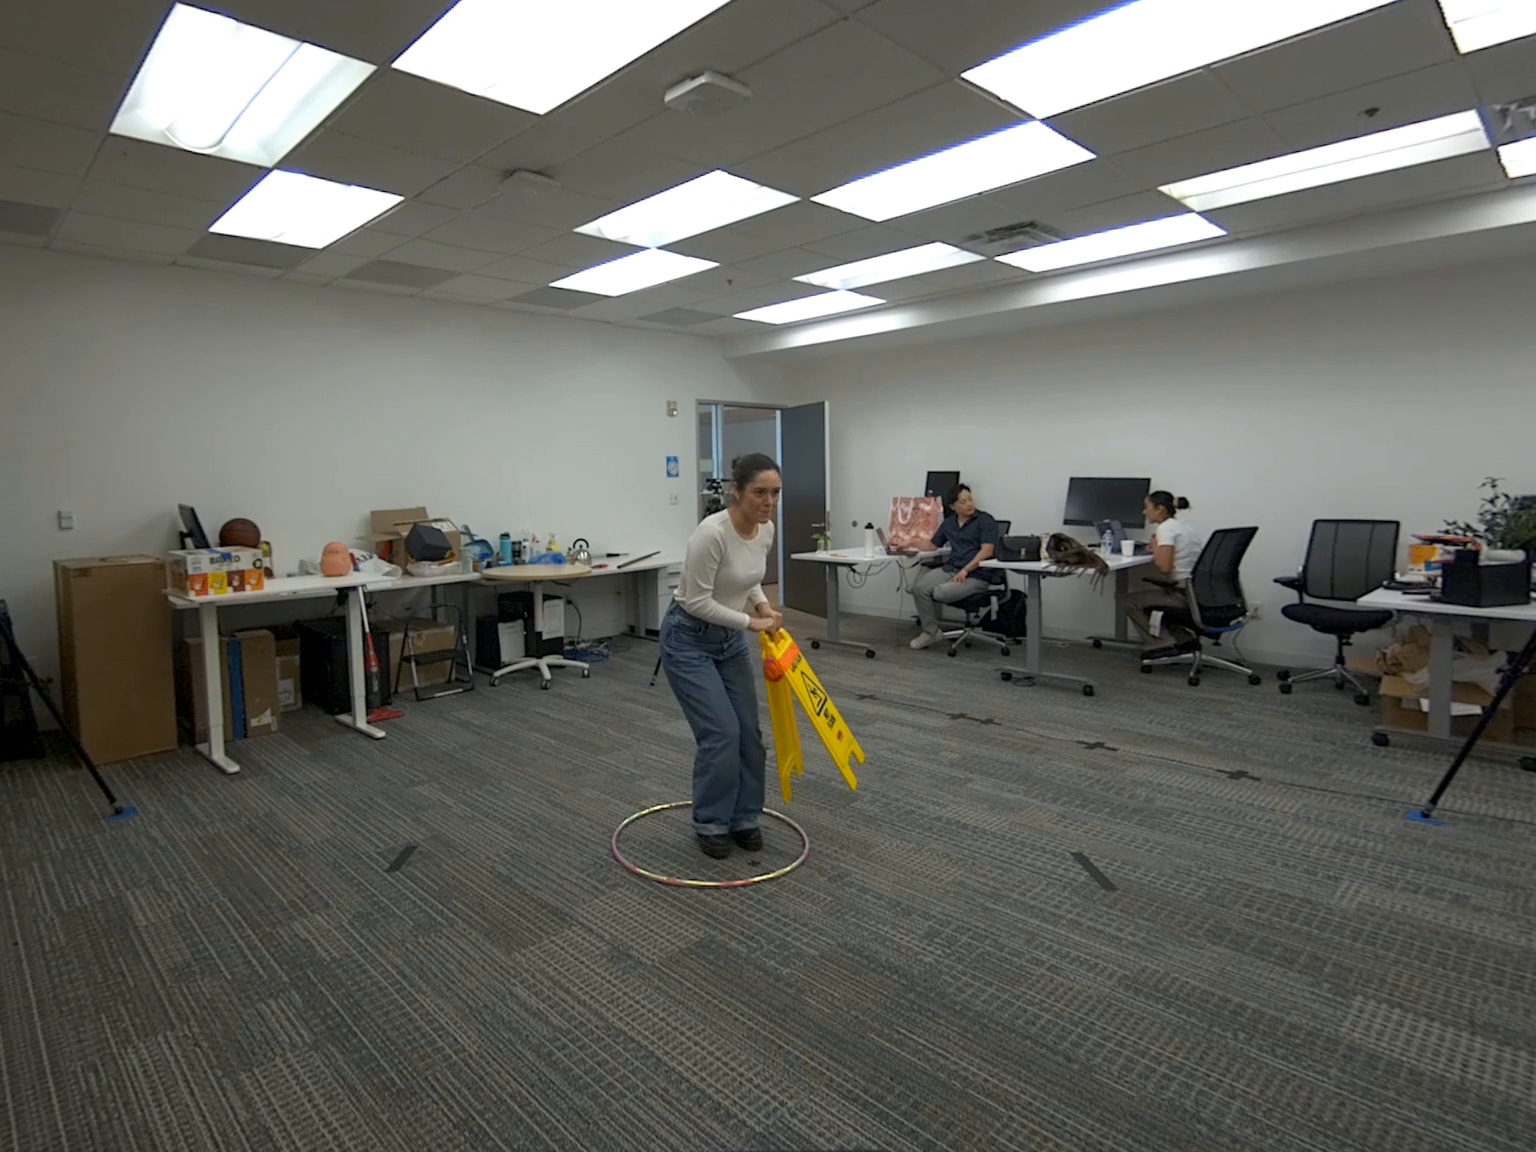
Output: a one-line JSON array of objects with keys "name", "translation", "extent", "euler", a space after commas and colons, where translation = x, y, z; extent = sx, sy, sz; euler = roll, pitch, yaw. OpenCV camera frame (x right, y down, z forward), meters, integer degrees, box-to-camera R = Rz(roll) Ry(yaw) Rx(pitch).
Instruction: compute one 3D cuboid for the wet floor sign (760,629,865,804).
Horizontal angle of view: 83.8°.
[{"name": "wet floor sign", "translation": [0.108, 0.470, 3.170], "extent": [0.293, 0.640, 0.281], "euler": [-17, 8, 21]}]
